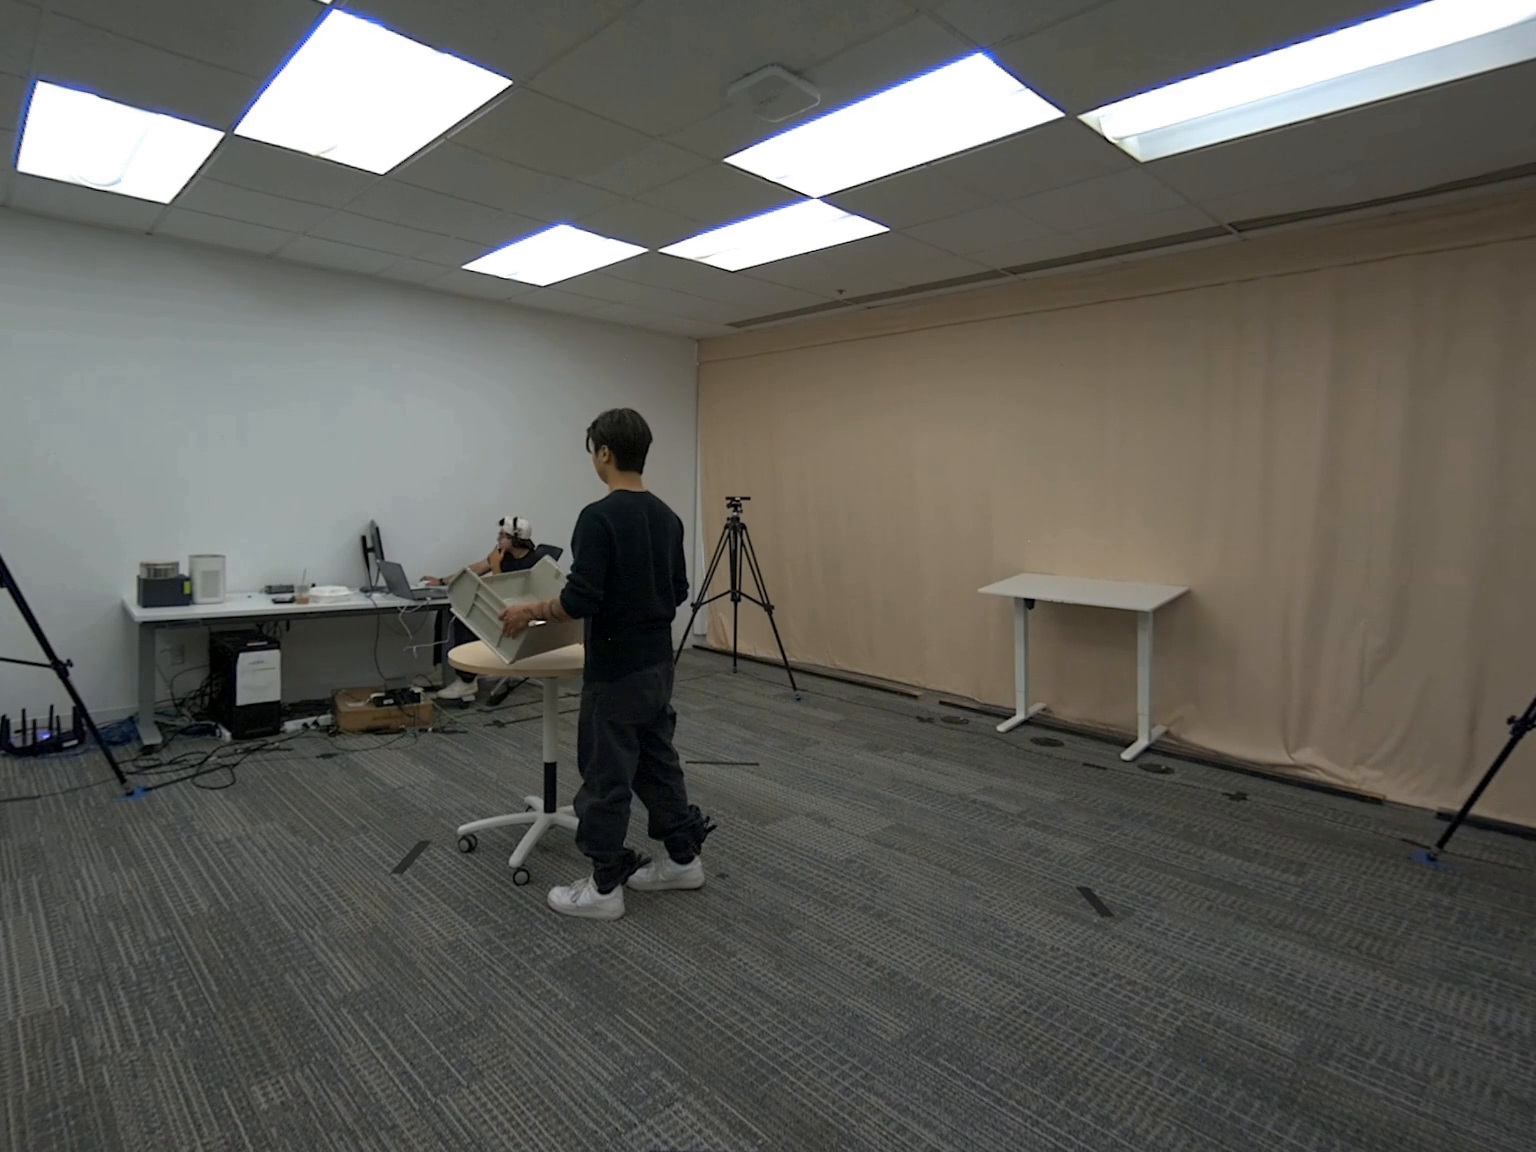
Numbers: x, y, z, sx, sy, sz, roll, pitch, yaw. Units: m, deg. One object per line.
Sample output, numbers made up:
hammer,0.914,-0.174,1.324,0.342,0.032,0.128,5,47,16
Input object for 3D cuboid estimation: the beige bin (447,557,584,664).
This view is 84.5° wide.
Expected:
beige bin,-0.868,0.107,3.028,0.385,0.188,0.415,38,21,19
